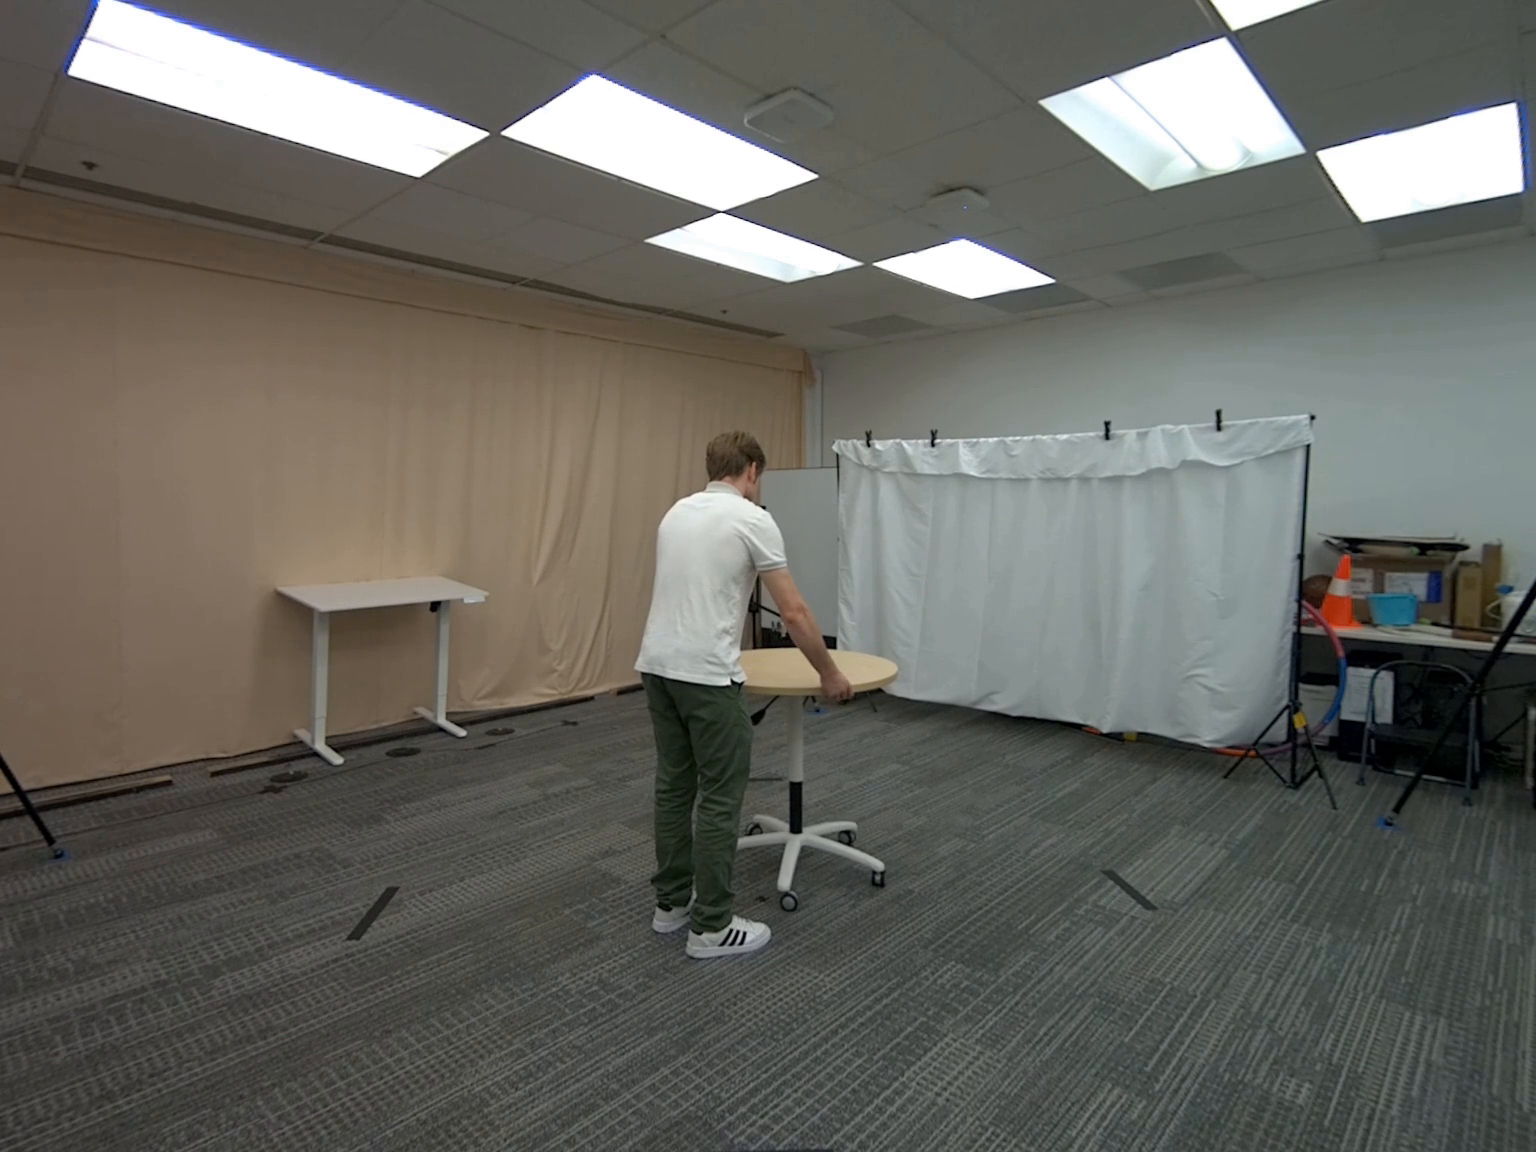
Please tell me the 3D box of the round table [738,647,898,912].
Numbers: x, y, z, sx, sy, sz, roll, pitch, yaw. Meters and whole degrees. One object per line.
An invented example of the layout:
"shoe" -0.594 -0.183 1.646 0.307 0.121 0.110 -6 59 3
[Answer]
"round table" 0.116 0.733 3.218 0.763 0.792 0.767 0 4 -2
